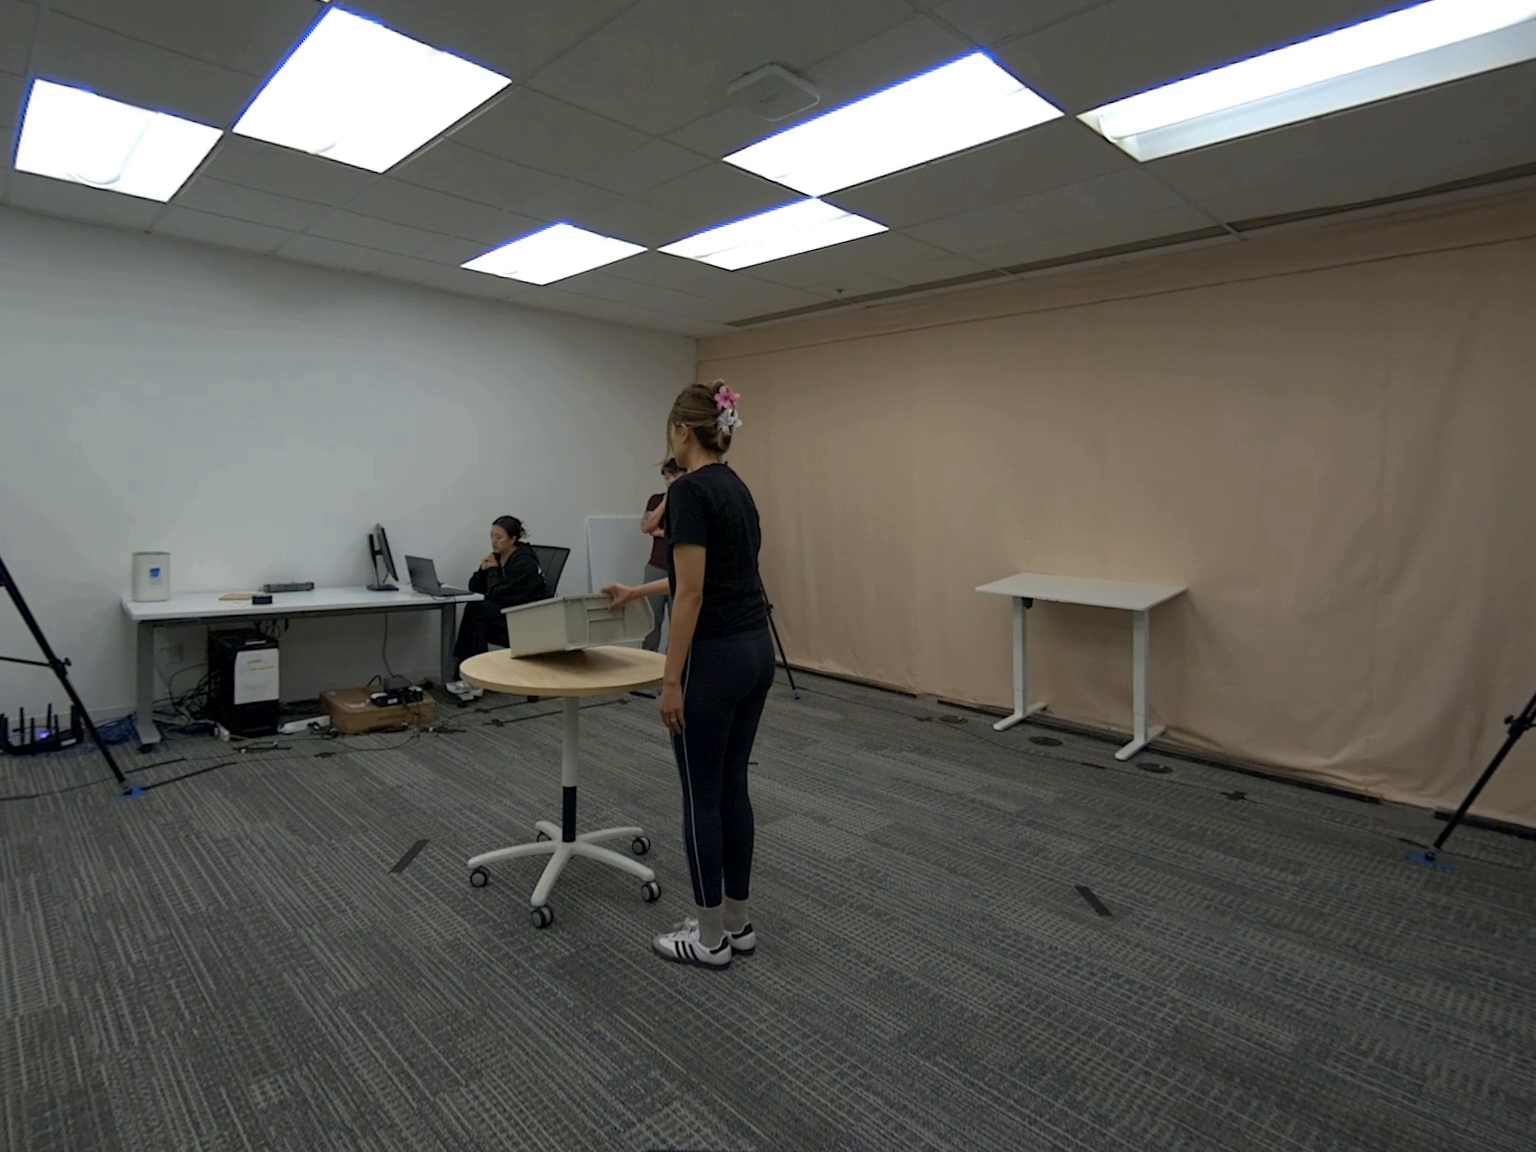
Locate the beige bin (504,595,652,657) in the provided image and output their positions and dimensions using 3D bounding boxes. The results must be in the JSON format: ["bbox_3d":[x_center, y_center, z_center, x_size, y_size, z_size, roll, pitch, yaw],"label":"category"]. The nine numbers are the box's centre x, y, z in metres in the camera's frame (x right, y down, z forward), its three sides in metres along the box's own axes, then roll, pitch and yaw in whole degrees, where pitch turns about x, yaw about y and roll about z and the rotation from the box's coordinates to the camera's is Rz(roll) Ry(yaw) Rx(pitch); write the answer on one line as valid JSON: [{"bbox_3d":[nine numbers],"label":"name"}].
[{"bbox_3d":[-0.695,0.177,3.052,0.369,0.189,0.430,-5,-4,-45],"label":"beige bin"}]
